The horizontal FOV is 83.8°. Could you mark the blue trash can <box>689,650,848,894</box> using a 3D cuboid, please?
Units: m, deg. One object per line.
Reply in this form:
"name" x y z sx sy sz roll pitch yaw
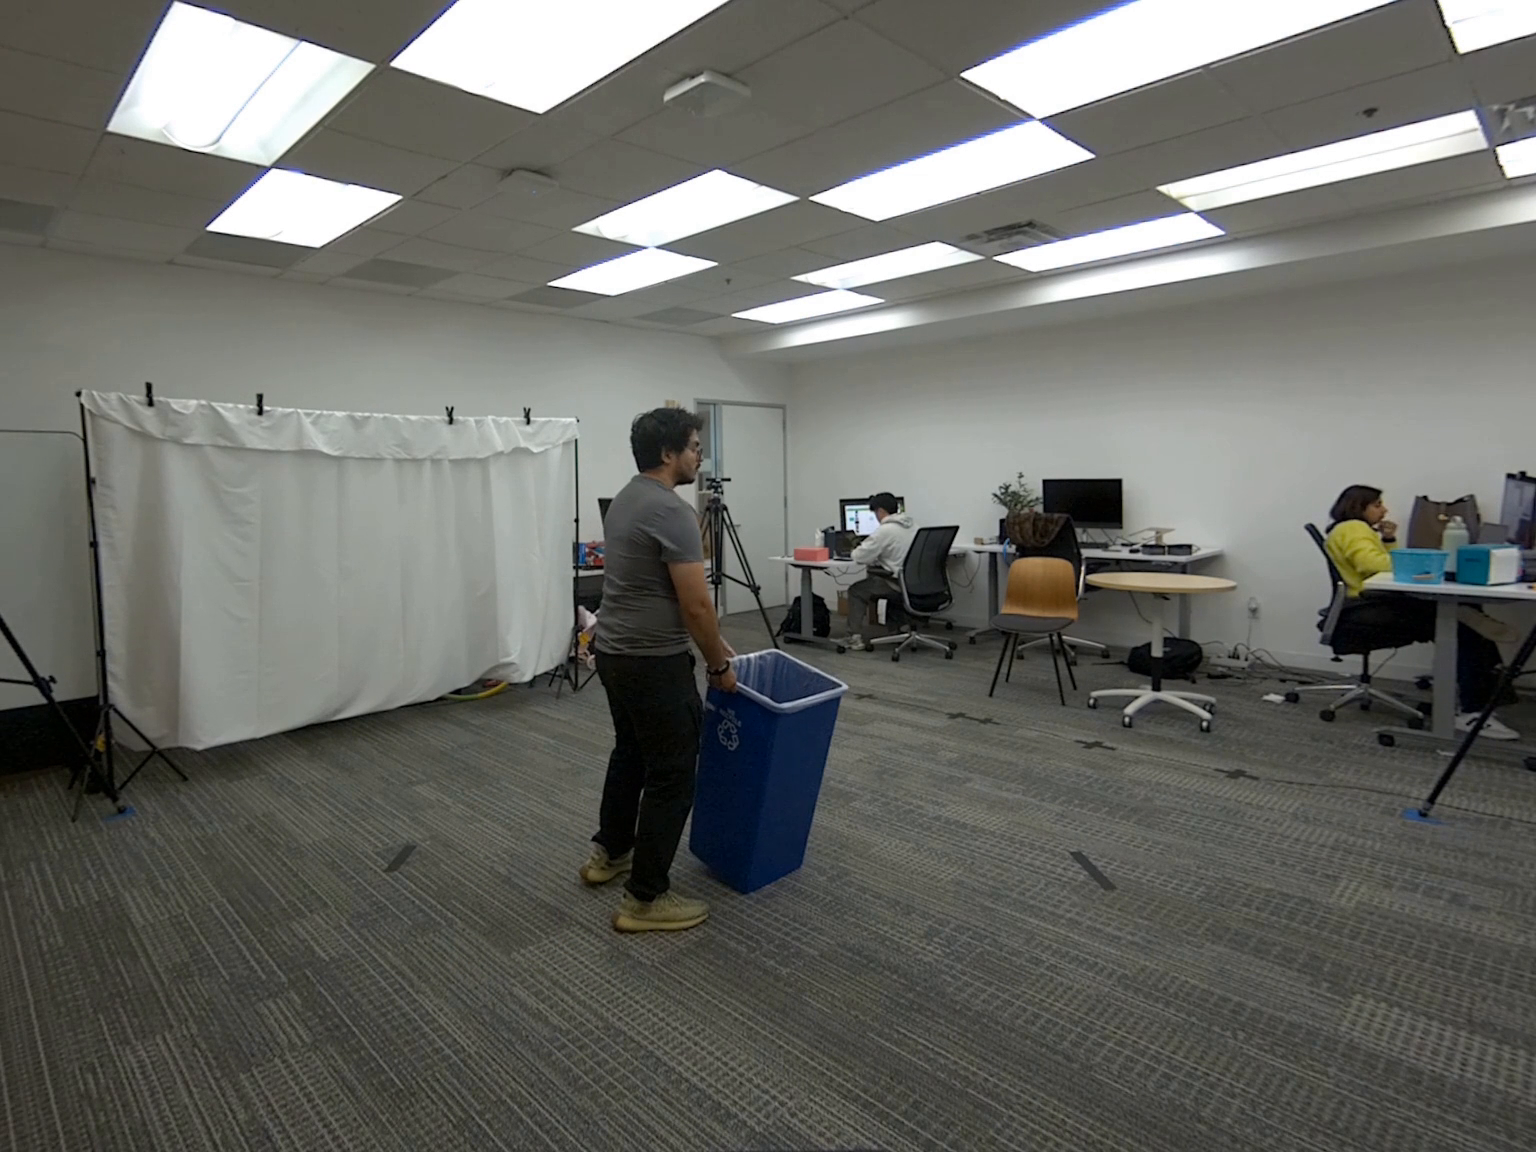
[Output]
"blue trash can" -0.021 0.676 2.992 0.392 0.705 0.365 21 19 38
